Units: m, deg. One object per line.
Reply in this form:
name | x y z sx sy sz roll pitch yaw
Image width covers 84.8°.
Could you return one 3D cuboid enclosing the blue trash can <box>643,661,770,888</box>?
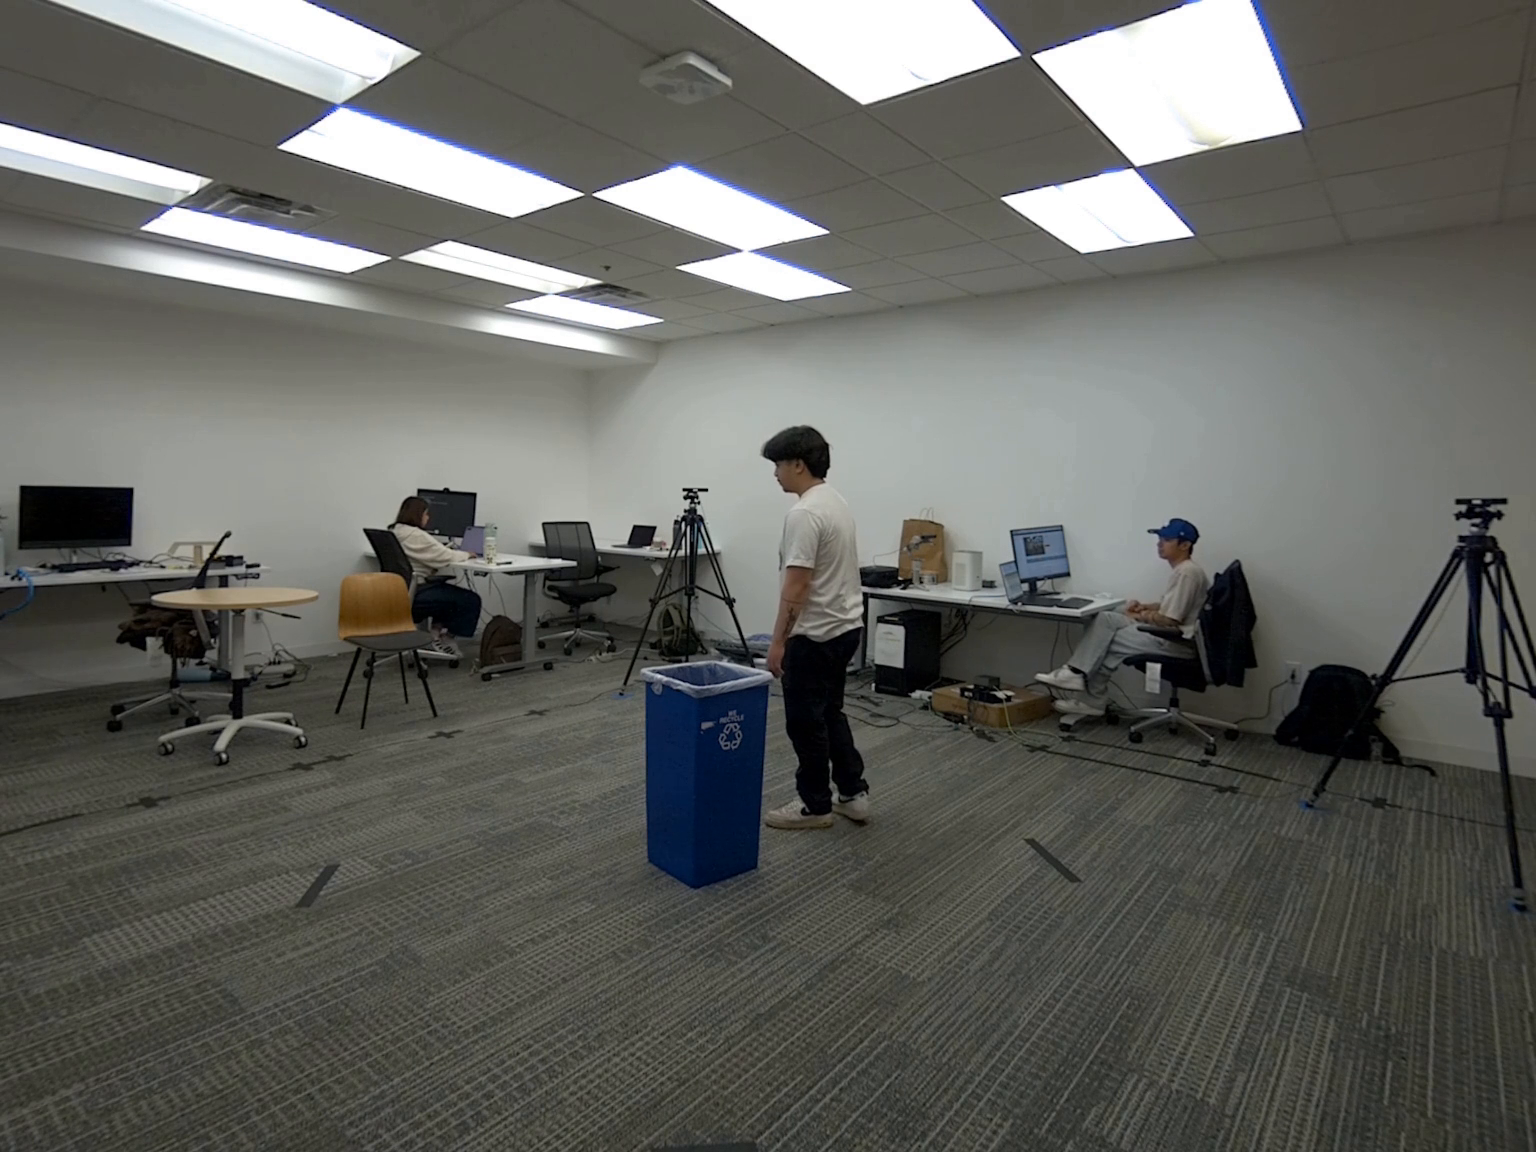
blue trash can | -0.241 0.707 3.145 0.363 0.711 0.391 -2 5 -41
